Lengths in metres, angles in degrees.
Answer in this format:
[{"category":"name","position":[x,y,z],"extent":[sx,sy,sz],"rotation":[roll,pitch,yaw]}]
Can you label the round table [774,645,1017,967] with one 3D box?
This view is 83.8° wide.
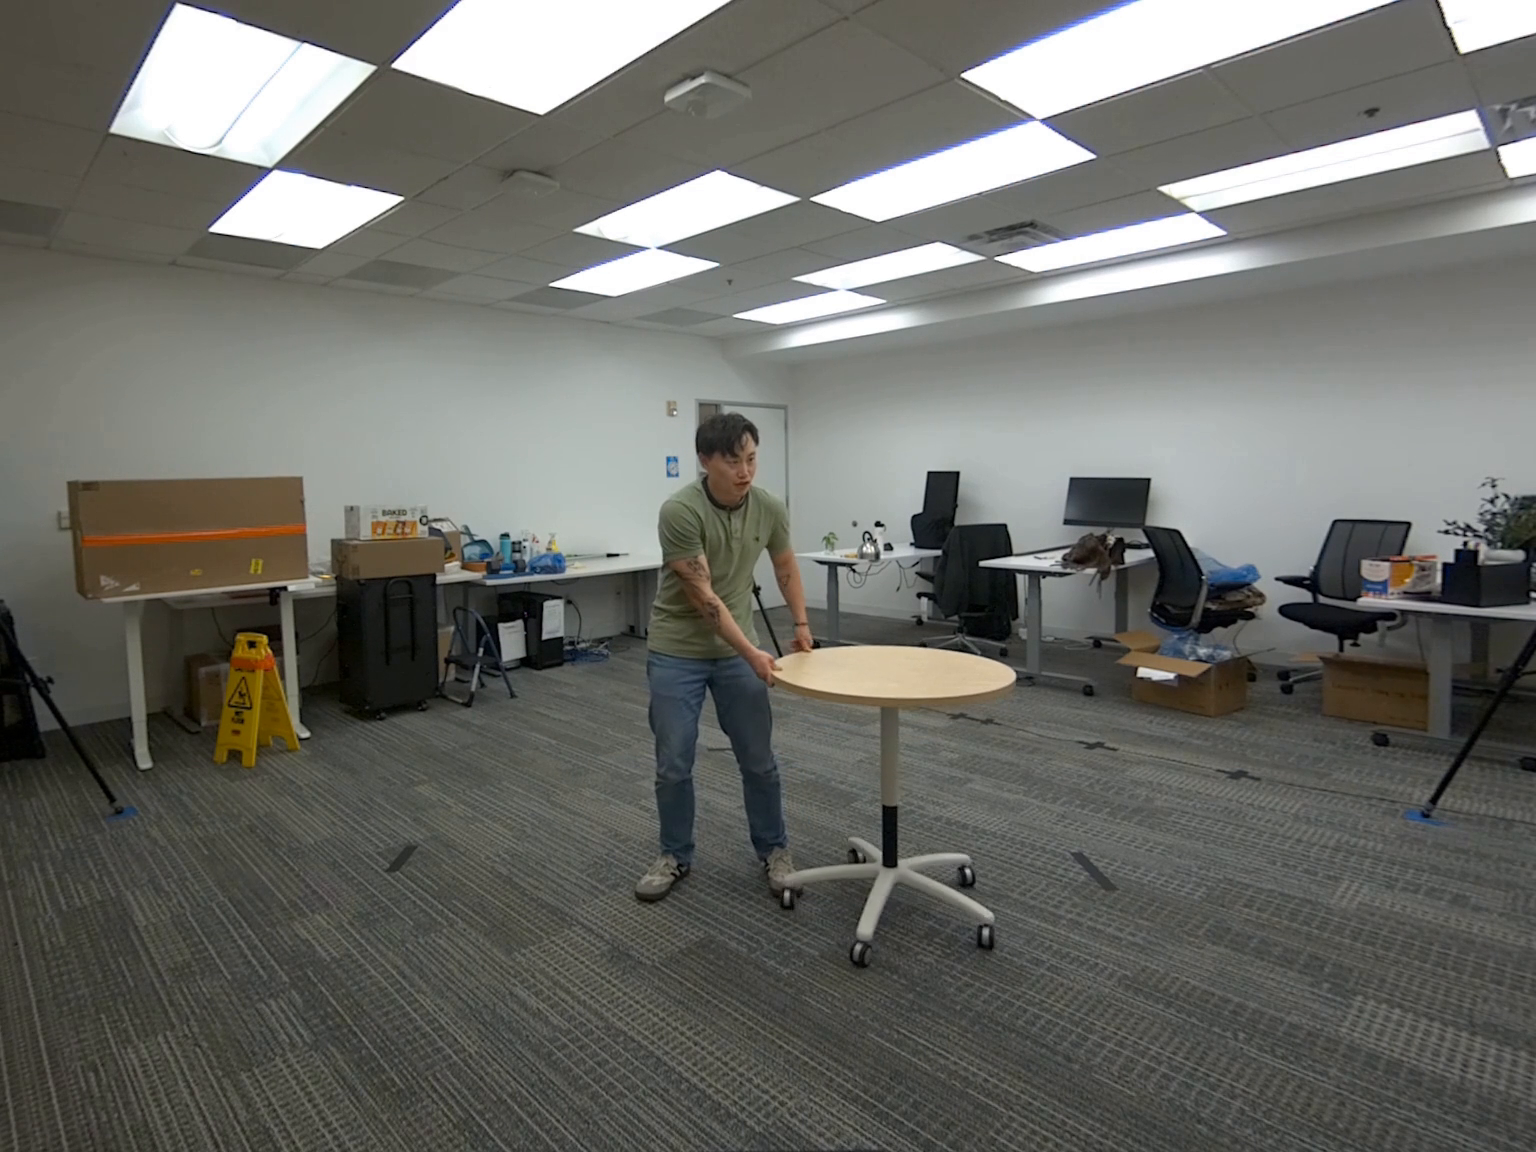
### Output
[{"category":"round table","position":[0.390,0.687,2.742],"extent":[0.763,0.791,0.768],"rotation":[0,5,-2]}]
